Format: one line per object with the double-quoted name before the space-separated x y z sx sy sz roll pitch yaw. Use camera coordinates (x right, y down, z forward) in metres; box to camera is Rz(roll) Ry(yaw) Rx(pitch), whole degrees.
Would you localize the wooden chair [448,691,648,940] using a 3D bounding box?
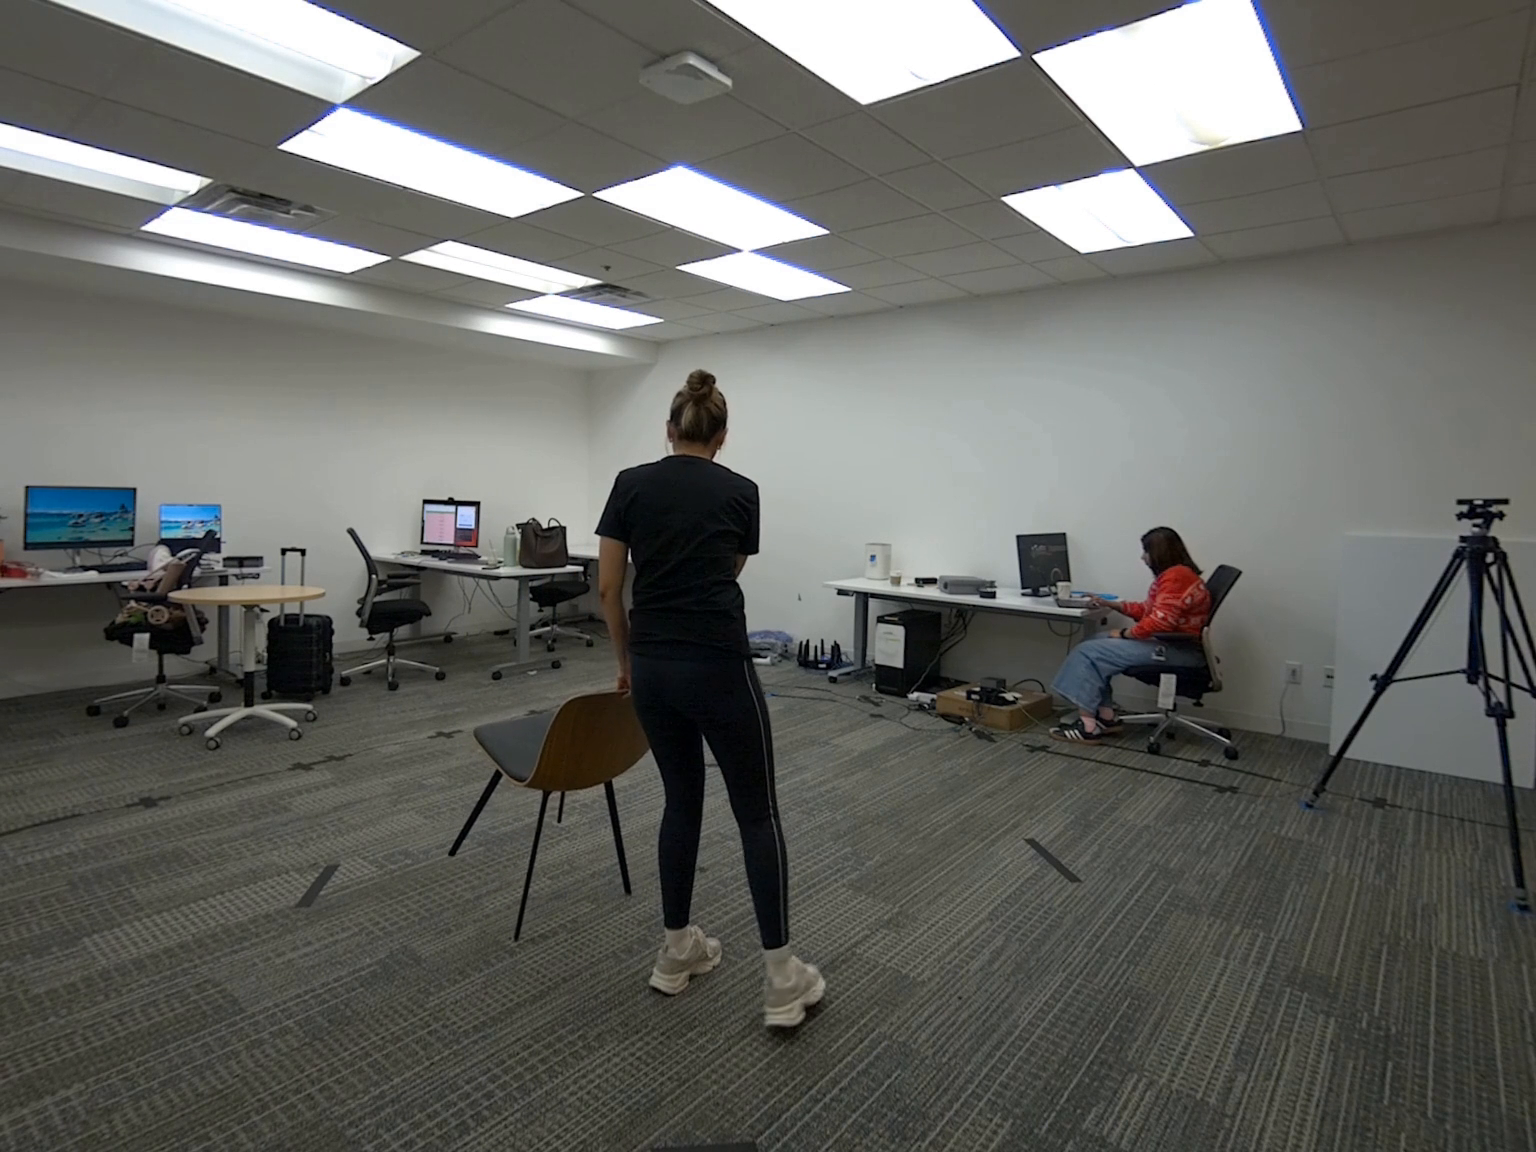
"wooden chair" -0.700 0.618 2.795 0.464 0.868 0.545 -3 26 -46
